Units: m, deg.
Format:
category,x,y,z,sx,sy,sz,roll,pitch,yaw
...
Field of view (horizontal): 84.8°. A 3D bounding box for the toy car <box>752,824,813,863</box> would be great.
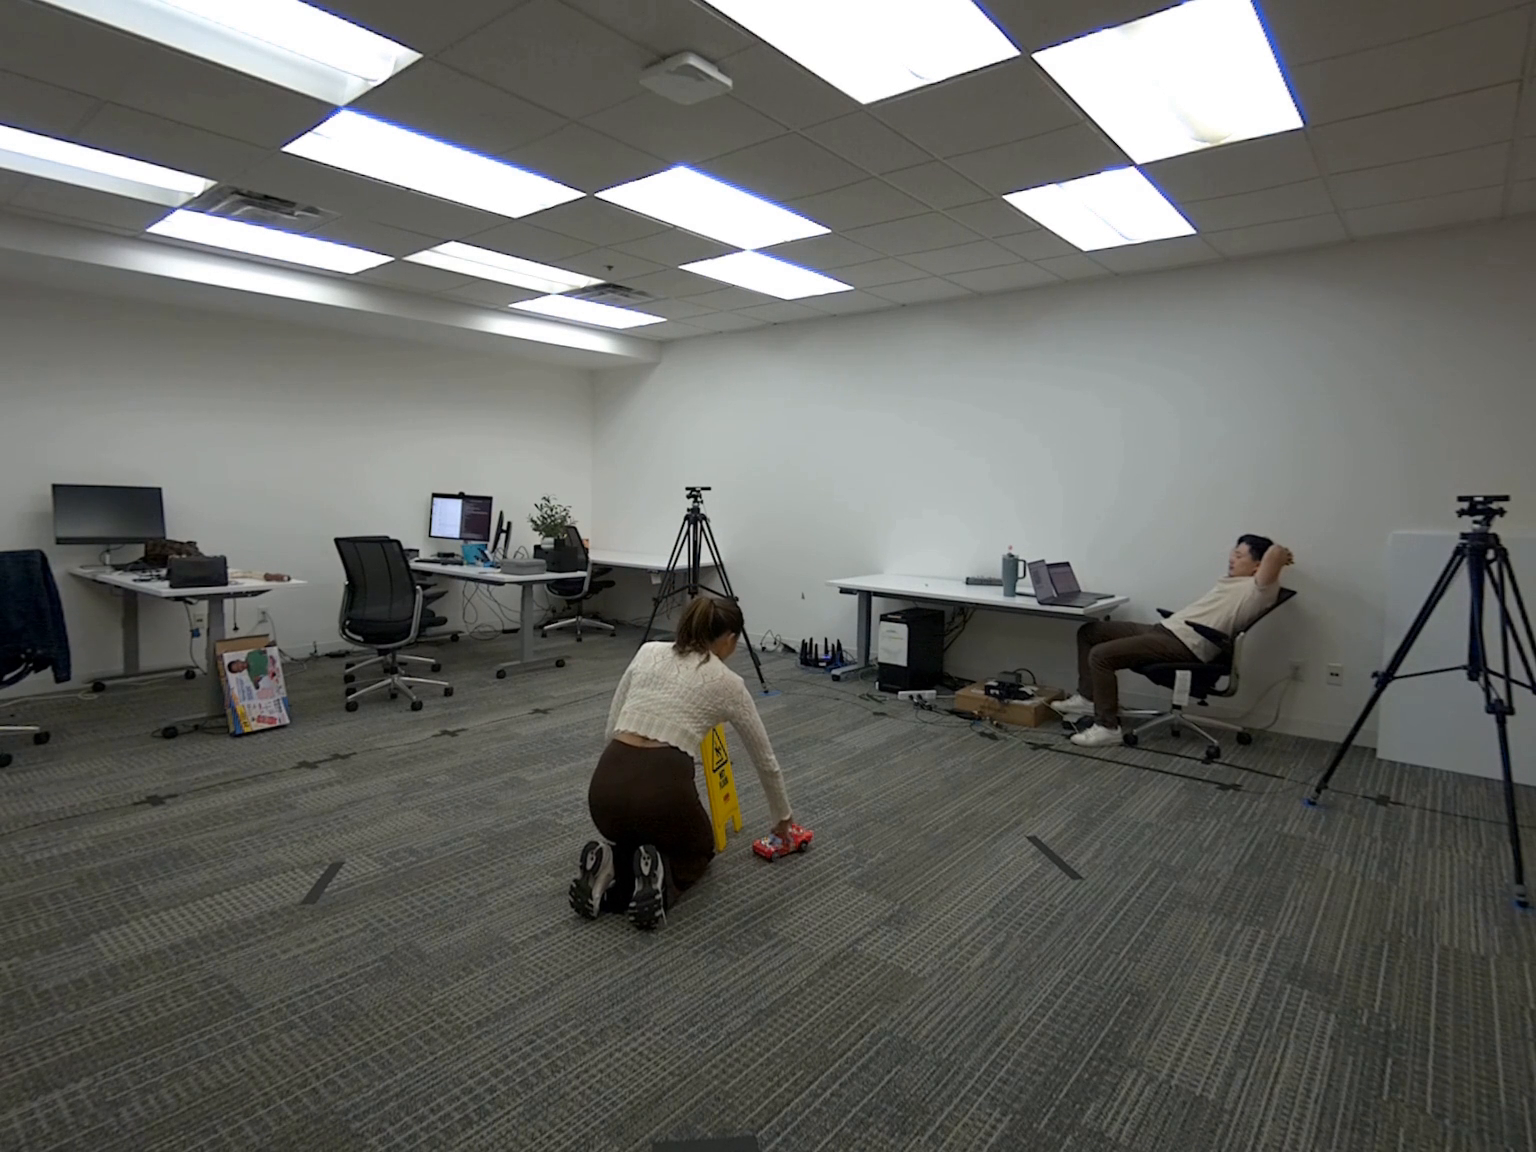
category,x,y,z,sx,sy,sz,roll,pitch,yaw
toy car,0.058,1.023,3.269,0.249,0.082,0.135,-17,15,-36
